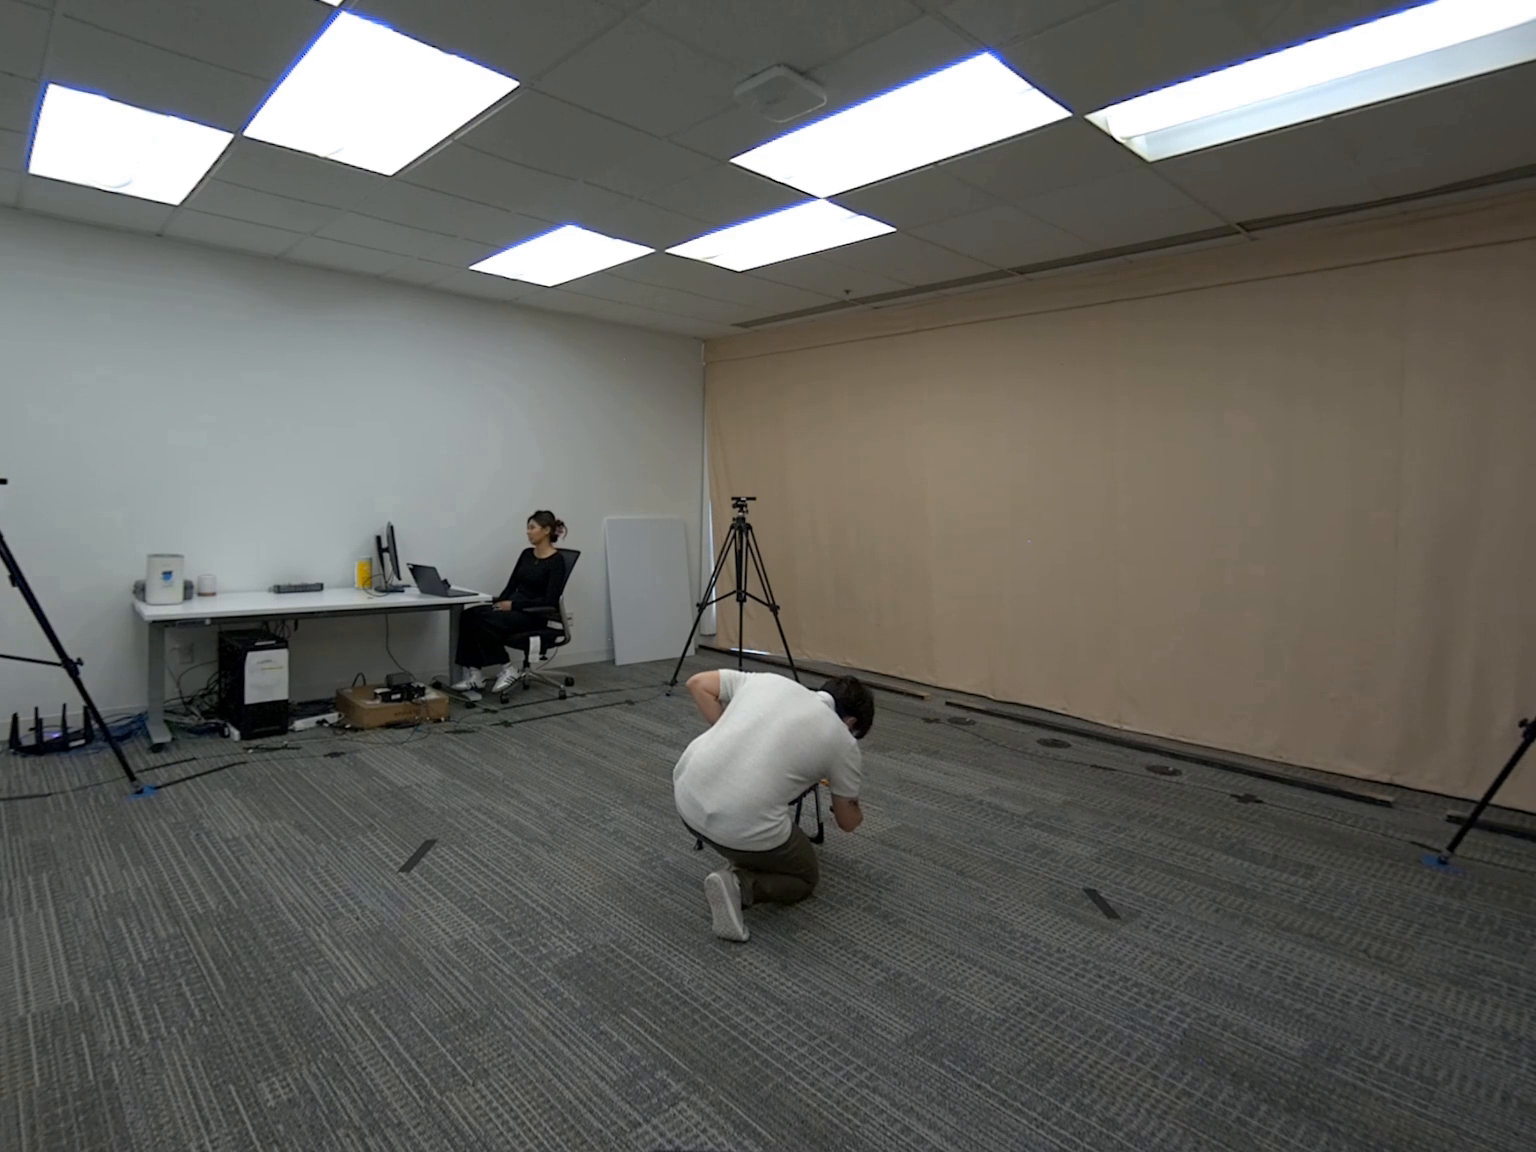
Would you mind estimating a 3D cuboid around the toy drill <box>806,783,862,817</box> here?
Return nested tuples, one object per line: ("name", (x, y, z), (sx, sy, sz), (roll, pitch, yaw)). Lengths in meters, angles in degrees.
("toy drill", (0.255, 0.847, 3.276), (0.173, 0.059, 0.147), (2, 39, 26))
